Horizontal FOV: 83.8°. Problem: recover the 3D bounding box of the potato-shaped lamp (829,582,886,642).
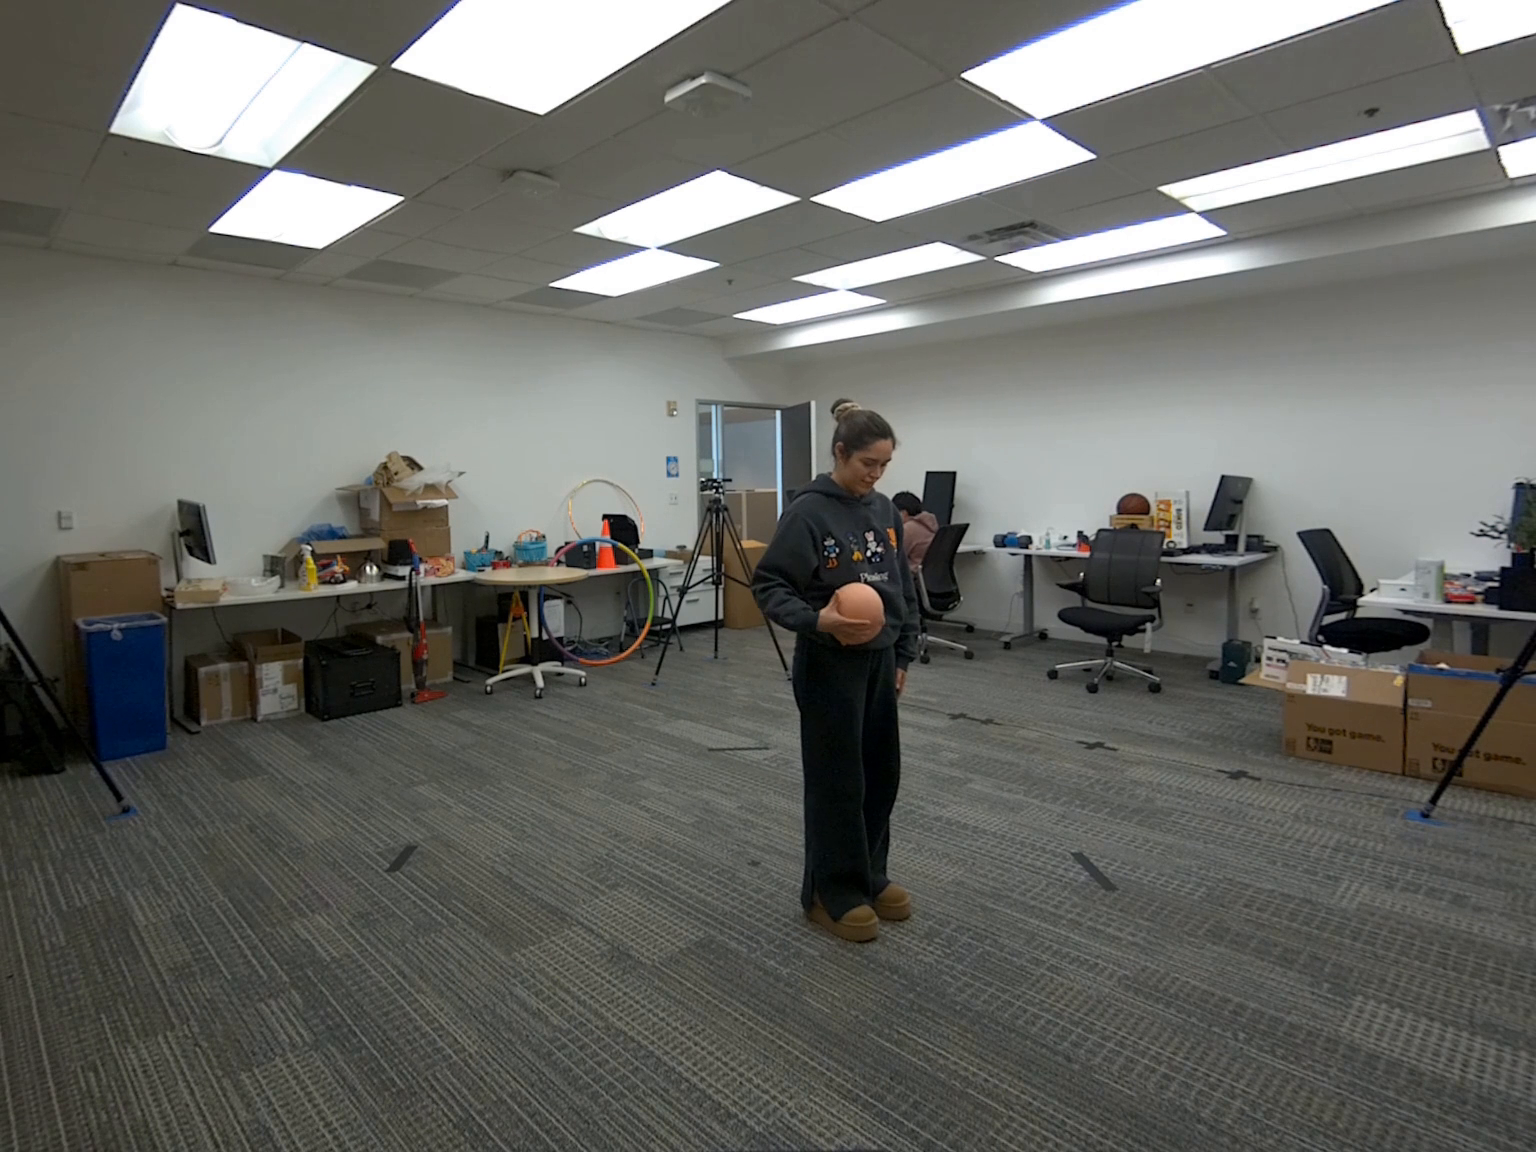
[{"bbox_3d":[0.256,0.107,2.484,0.163,0.174,0.196,-17,-12,-11],"label":"potato-shaped lamp"}]
